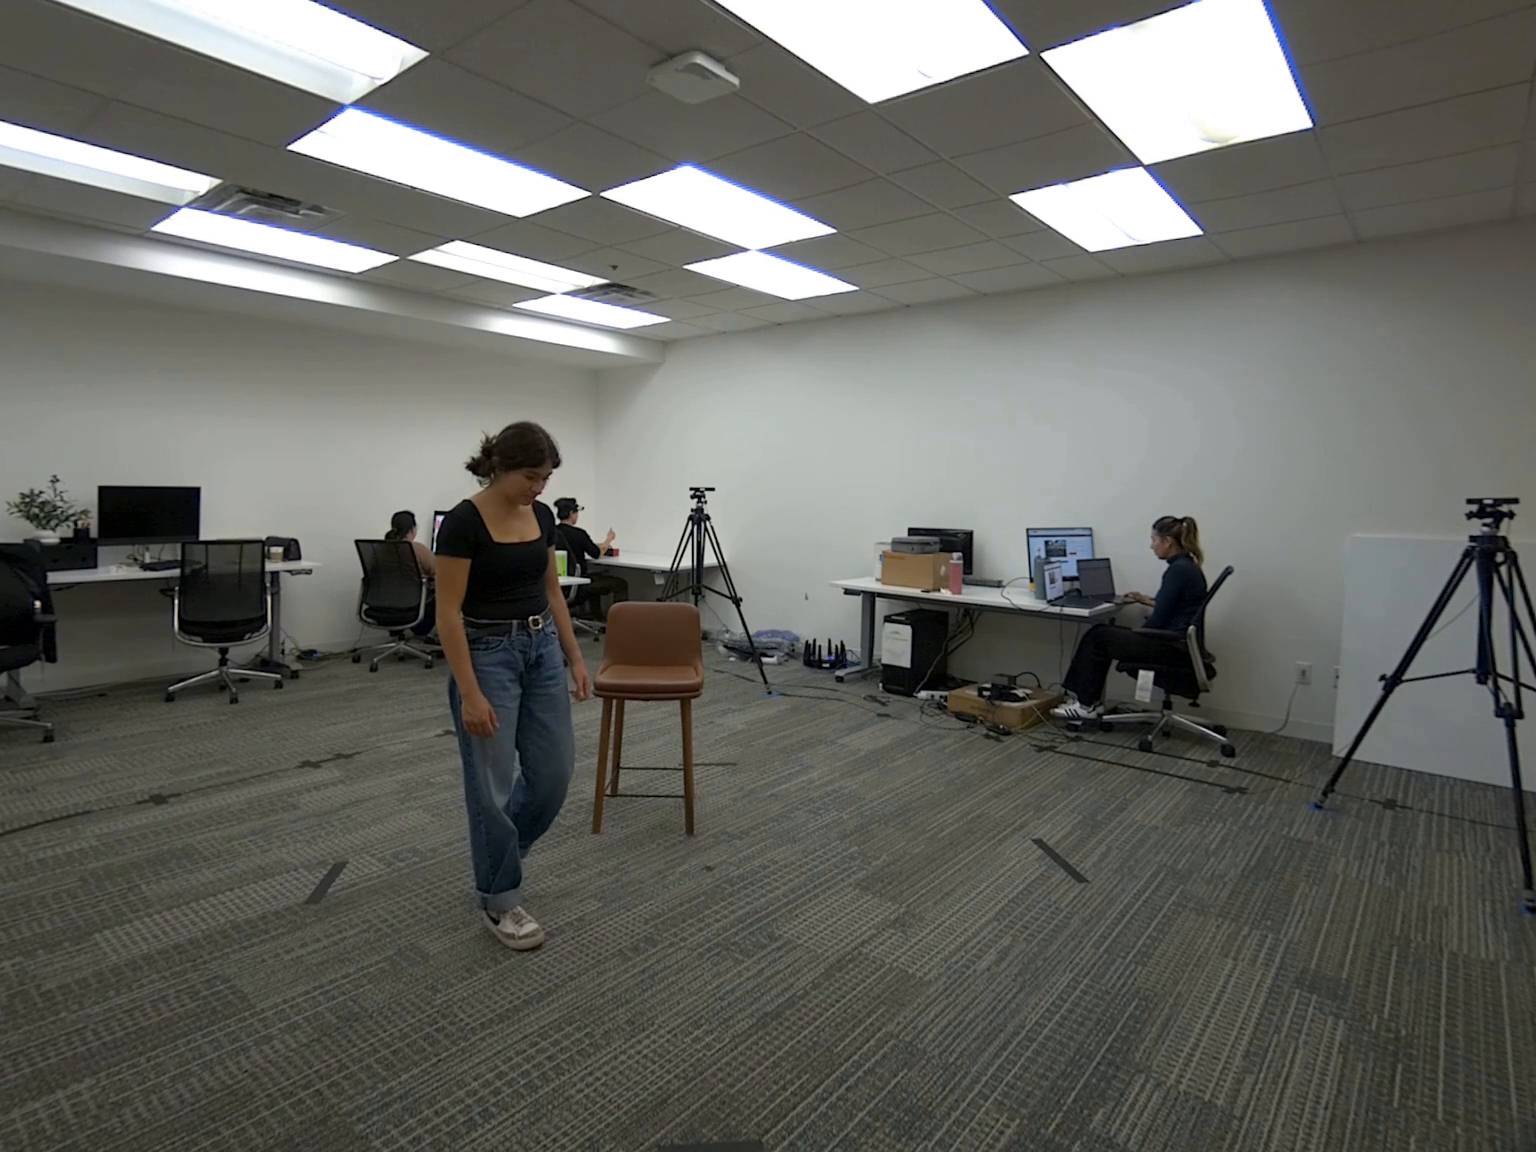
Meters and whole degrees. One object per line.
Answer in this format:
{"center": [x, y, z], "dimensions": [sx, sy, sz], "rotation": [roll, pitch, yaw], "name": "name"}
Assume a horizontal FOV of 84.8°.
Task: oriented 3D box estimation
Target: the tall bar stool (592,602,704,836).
{"center": [-0.513, 0.576, 3.609], "dimensions": [0.456, 0.889, 0.469], "rotation": [1, 2, -1], "name": "tall bar stool"}
